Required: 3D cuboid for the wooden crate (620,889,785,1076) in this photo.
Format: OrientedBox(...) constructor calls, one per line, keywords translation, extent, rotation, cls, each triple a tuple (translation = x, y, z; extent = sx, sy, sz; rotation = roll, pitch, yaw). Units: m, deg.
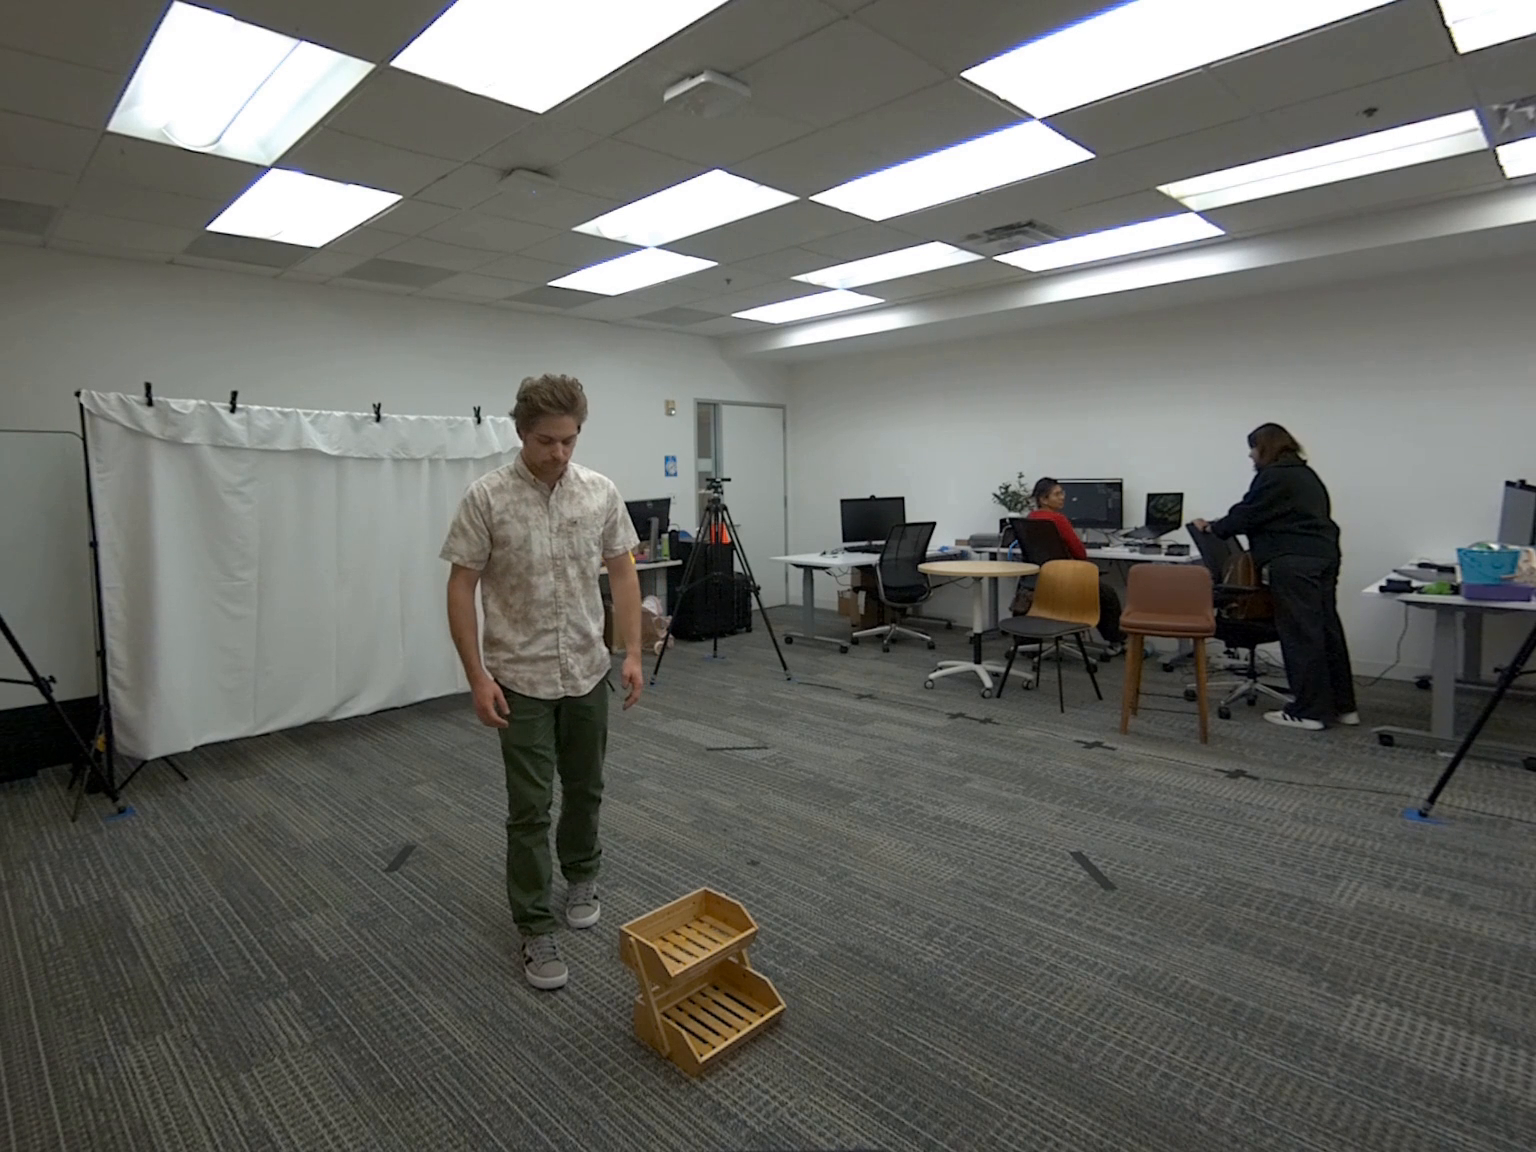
OrientedBox(translation=(-0.162, 1.023, 2.186), extent=(0.311, 0.272, 0.316), rotation=(3, 6, 45), cls="wooden crate")
